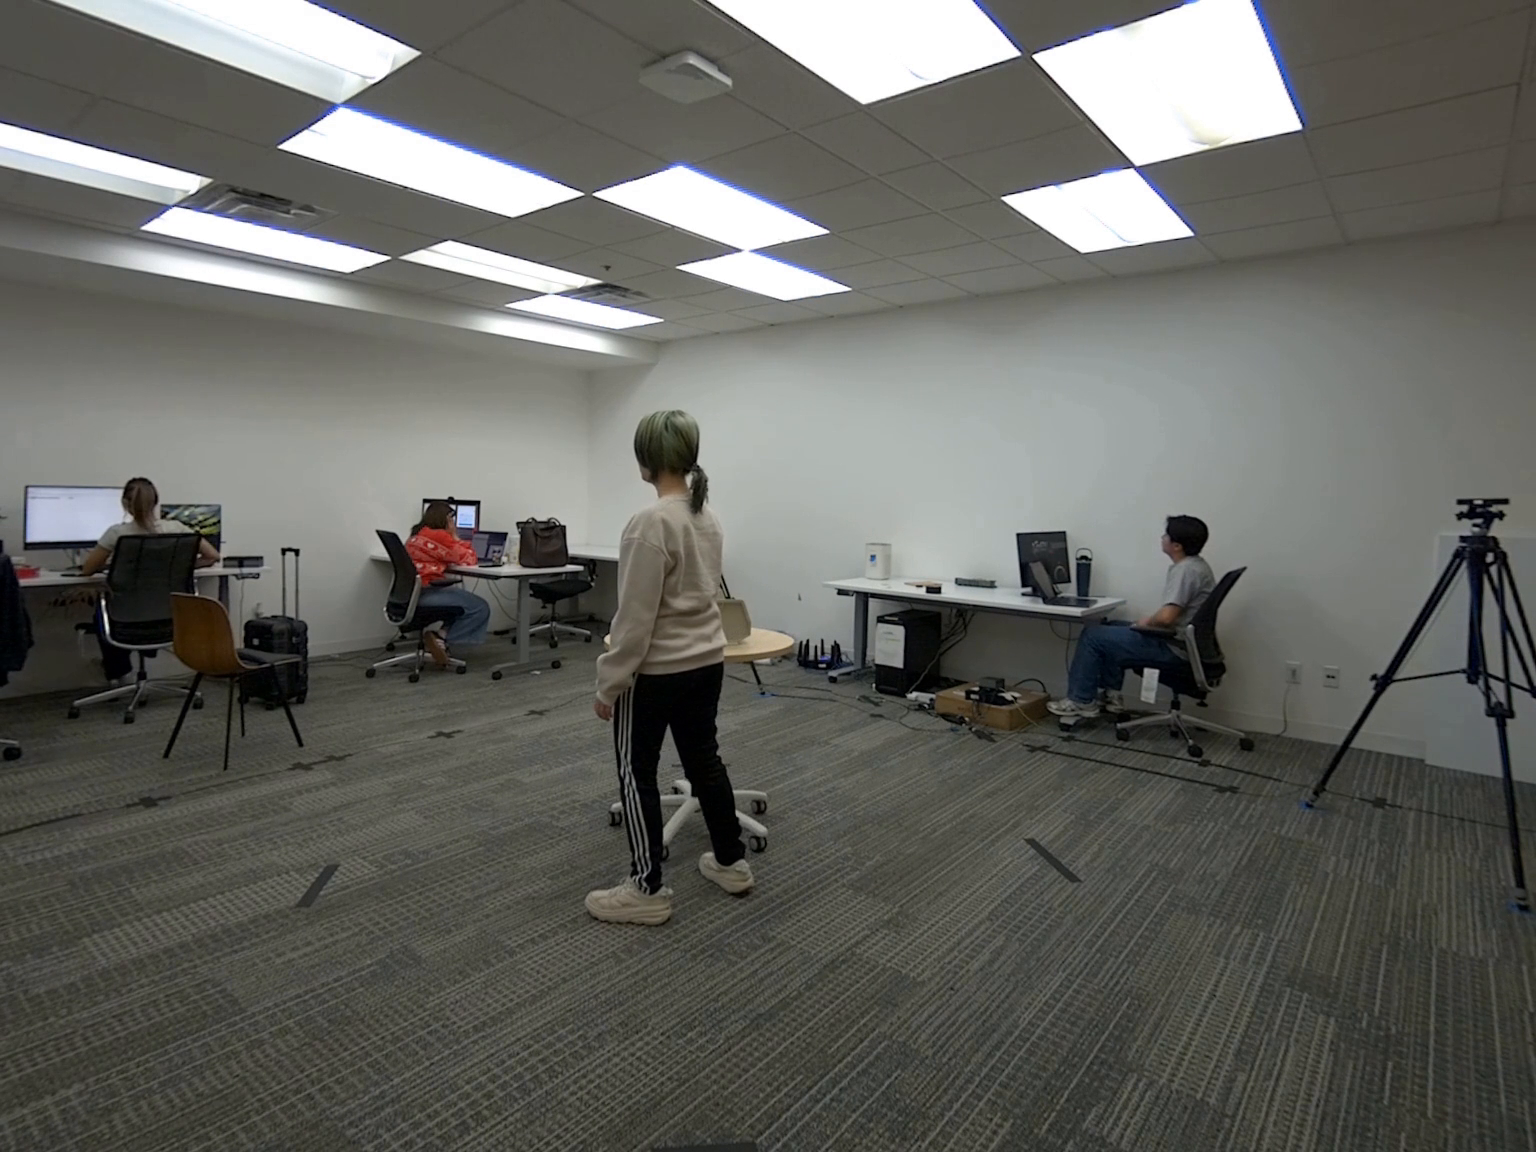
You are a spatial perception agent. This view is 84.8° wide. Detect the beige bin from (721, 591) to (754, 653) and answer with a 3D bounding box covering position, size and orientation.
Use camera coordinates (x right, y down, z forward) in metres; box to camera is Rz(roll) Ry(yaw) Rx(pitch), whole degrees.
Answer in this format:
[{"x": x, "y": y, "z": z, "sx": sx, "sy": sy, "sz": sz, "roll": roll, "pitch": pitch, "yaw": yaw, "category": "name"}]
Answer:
[{"x": -0.299, "y": 0.174, "z": 3.466, "sx": 0.372, "sy": 0.188, "sz": 0.429, "roll": 3, "pitch": 4, "yaw": -13, "category": "beige bin"}]
